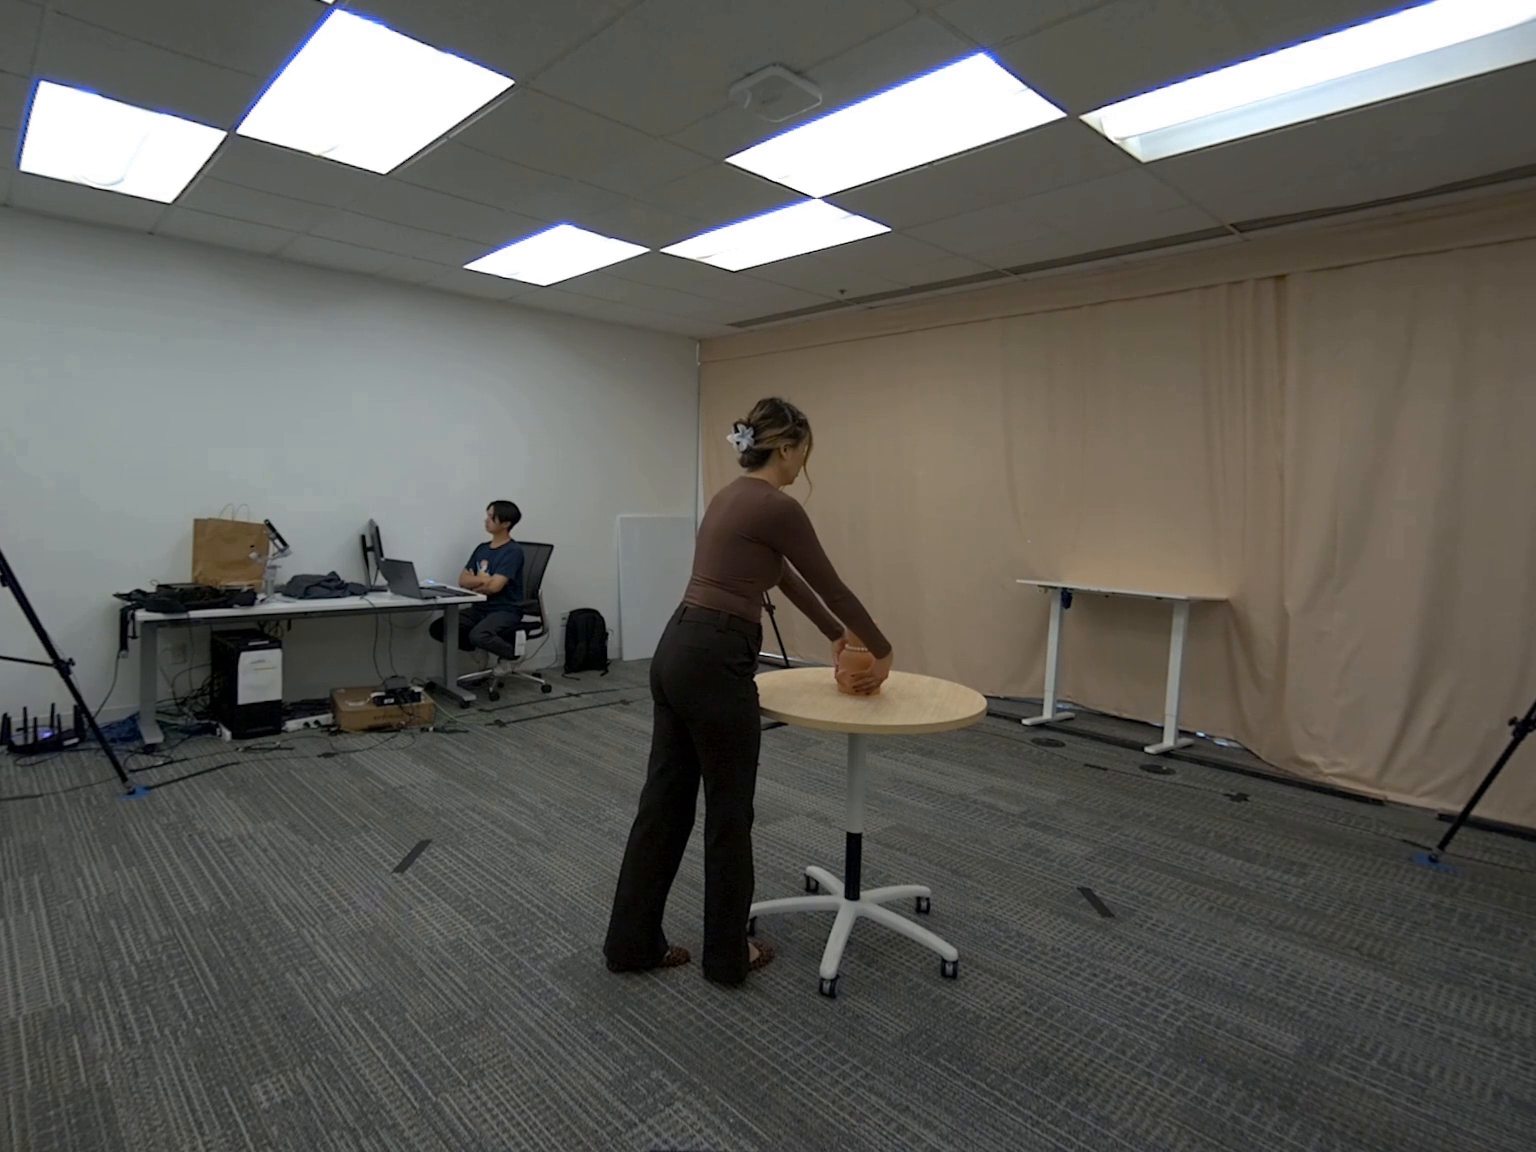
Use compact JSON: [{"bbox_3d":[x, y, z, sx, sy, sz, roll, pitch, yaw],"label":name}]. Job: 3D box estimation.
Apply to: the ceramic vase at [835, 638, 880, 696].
[{"bbox_3d":[0.285,0.252,2.635,0.136,0.219,0.157,3,5,12],"label":"ceramic vase"}]
